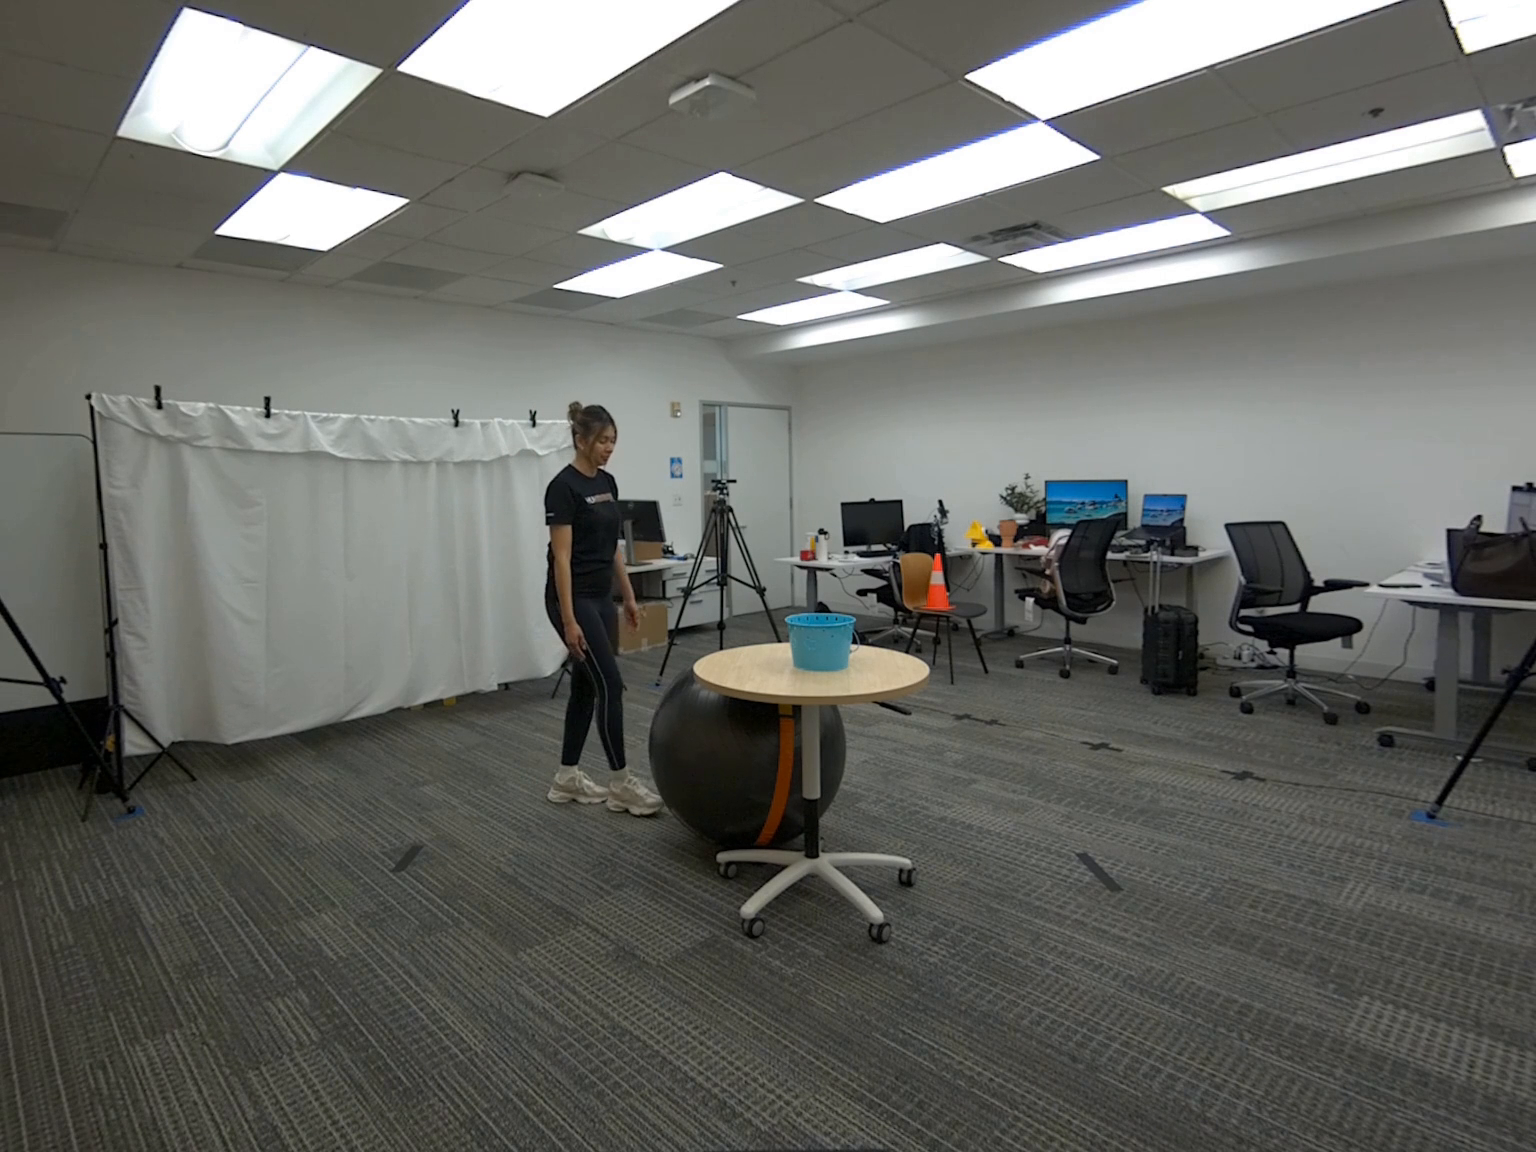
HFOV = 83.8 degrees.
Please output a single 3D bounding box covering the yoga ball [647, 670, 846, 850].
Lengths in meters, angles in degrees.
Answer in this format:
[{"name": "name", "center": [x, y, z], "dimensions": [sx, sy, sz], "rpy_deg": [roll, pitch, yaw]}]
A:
[{"name": "yoga ball", "center": [-0.078, 0.657, 3.287], "dimensions": [0.757, 0.755, 0.762], "rpy_deg": [-1, 5, -2]}]
